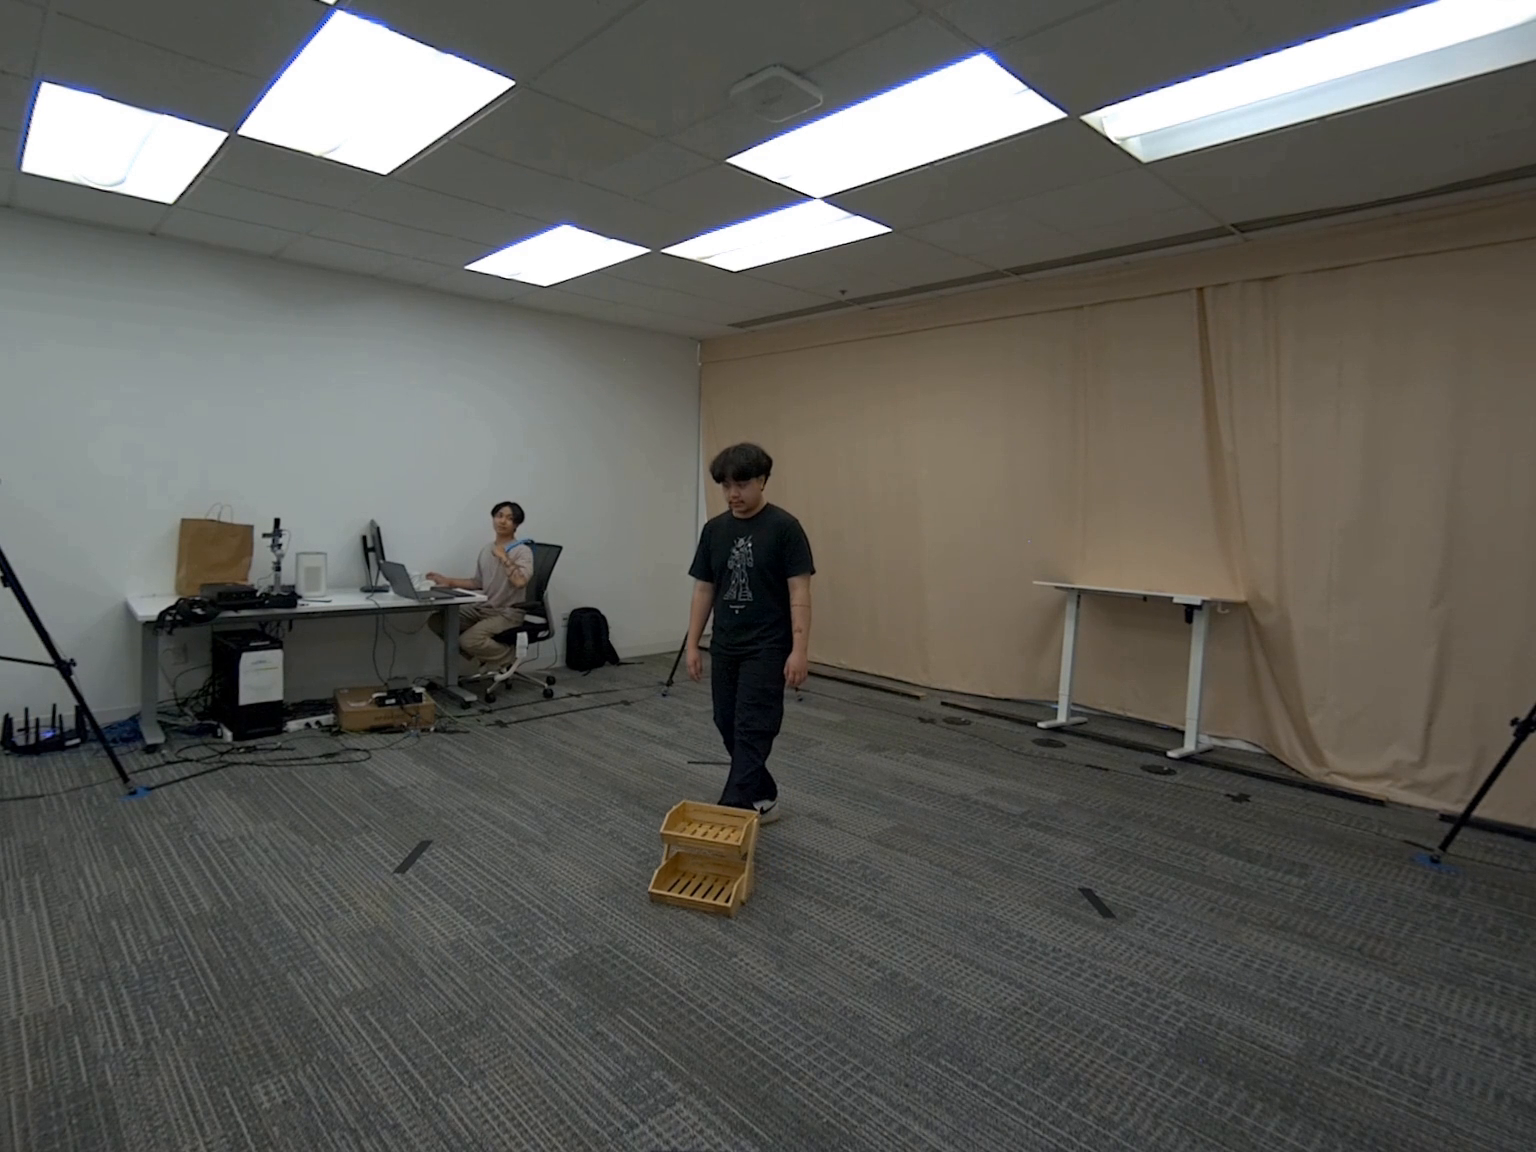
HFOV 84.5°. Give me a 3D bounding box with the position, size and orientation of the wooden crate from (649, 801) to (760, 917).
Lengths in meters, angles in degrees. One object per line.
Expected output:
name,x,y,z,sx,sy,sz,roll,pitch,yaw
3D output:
wooden crate,-0.229,0.989,2.960,0.329,0.272,0.298,3,5,17
